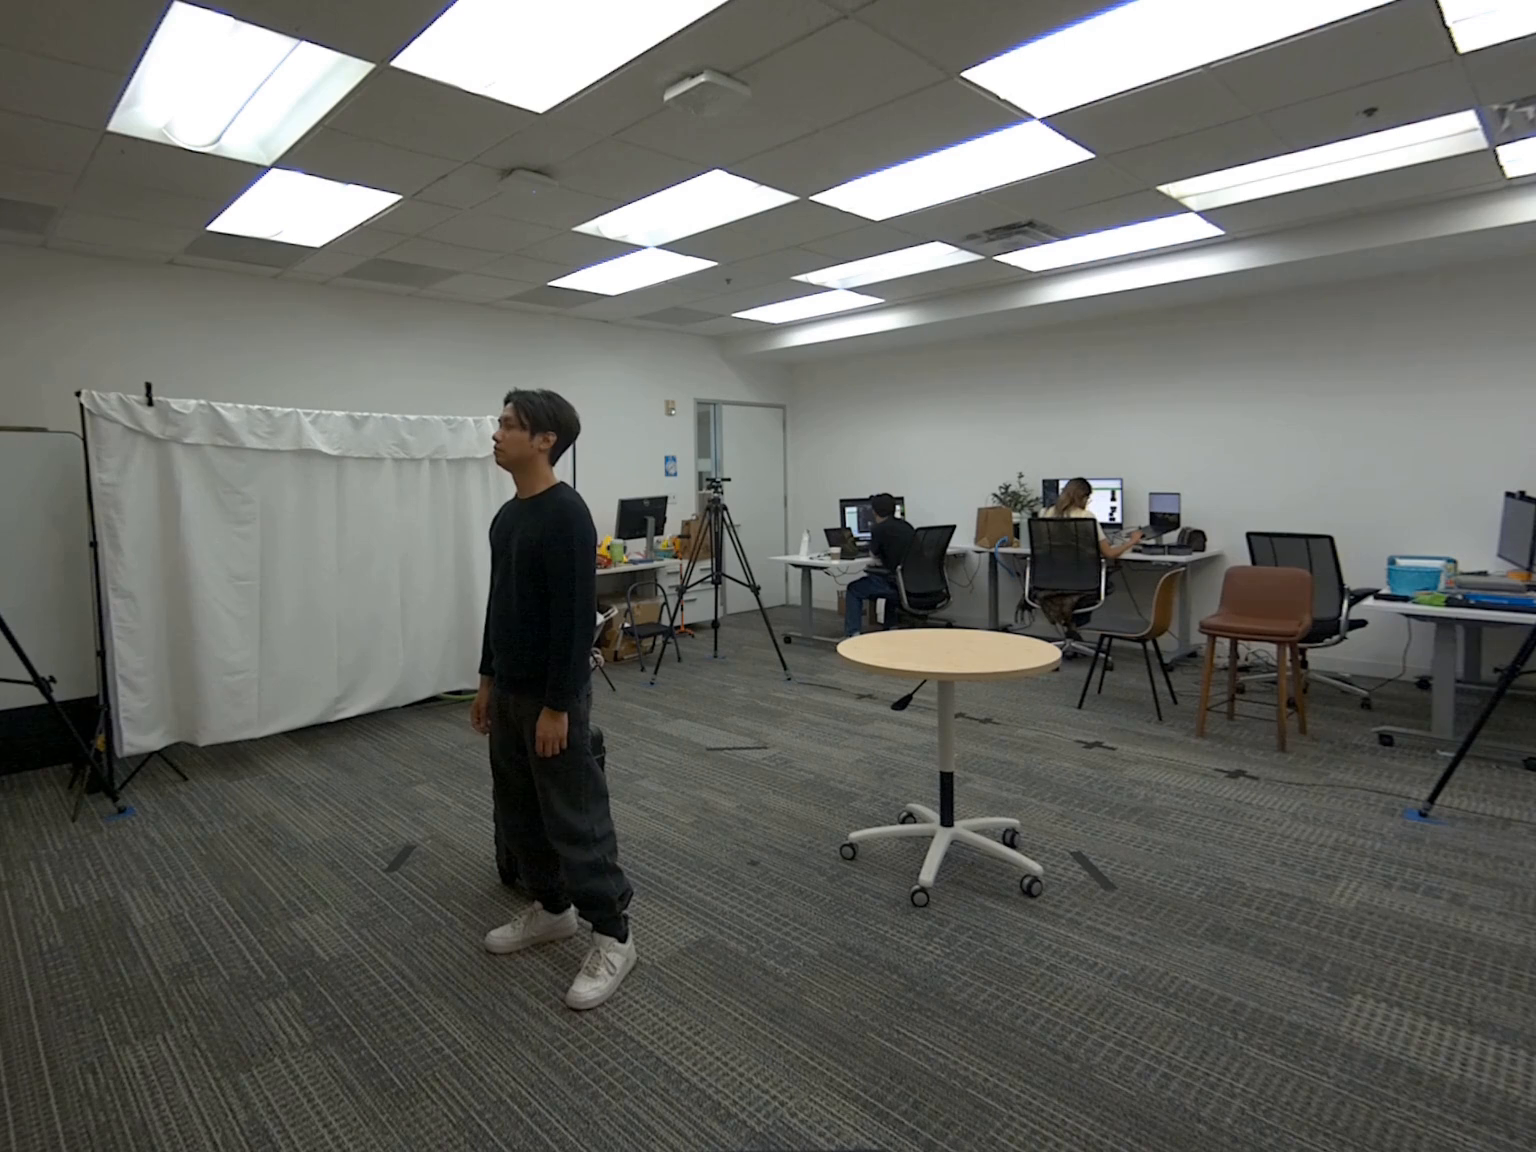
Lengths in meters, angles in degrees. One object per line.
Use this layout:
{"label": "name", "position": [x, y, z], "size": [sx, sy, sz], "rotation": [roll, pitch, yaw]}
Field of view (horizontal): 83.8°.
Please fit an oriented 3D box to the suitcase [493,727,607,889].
{"label": "suitcase", "position": [-0.770, 0.798, 3.002], "size": [0.255, 0.547, 0.366], "rotation": [1, 6, 38]}
